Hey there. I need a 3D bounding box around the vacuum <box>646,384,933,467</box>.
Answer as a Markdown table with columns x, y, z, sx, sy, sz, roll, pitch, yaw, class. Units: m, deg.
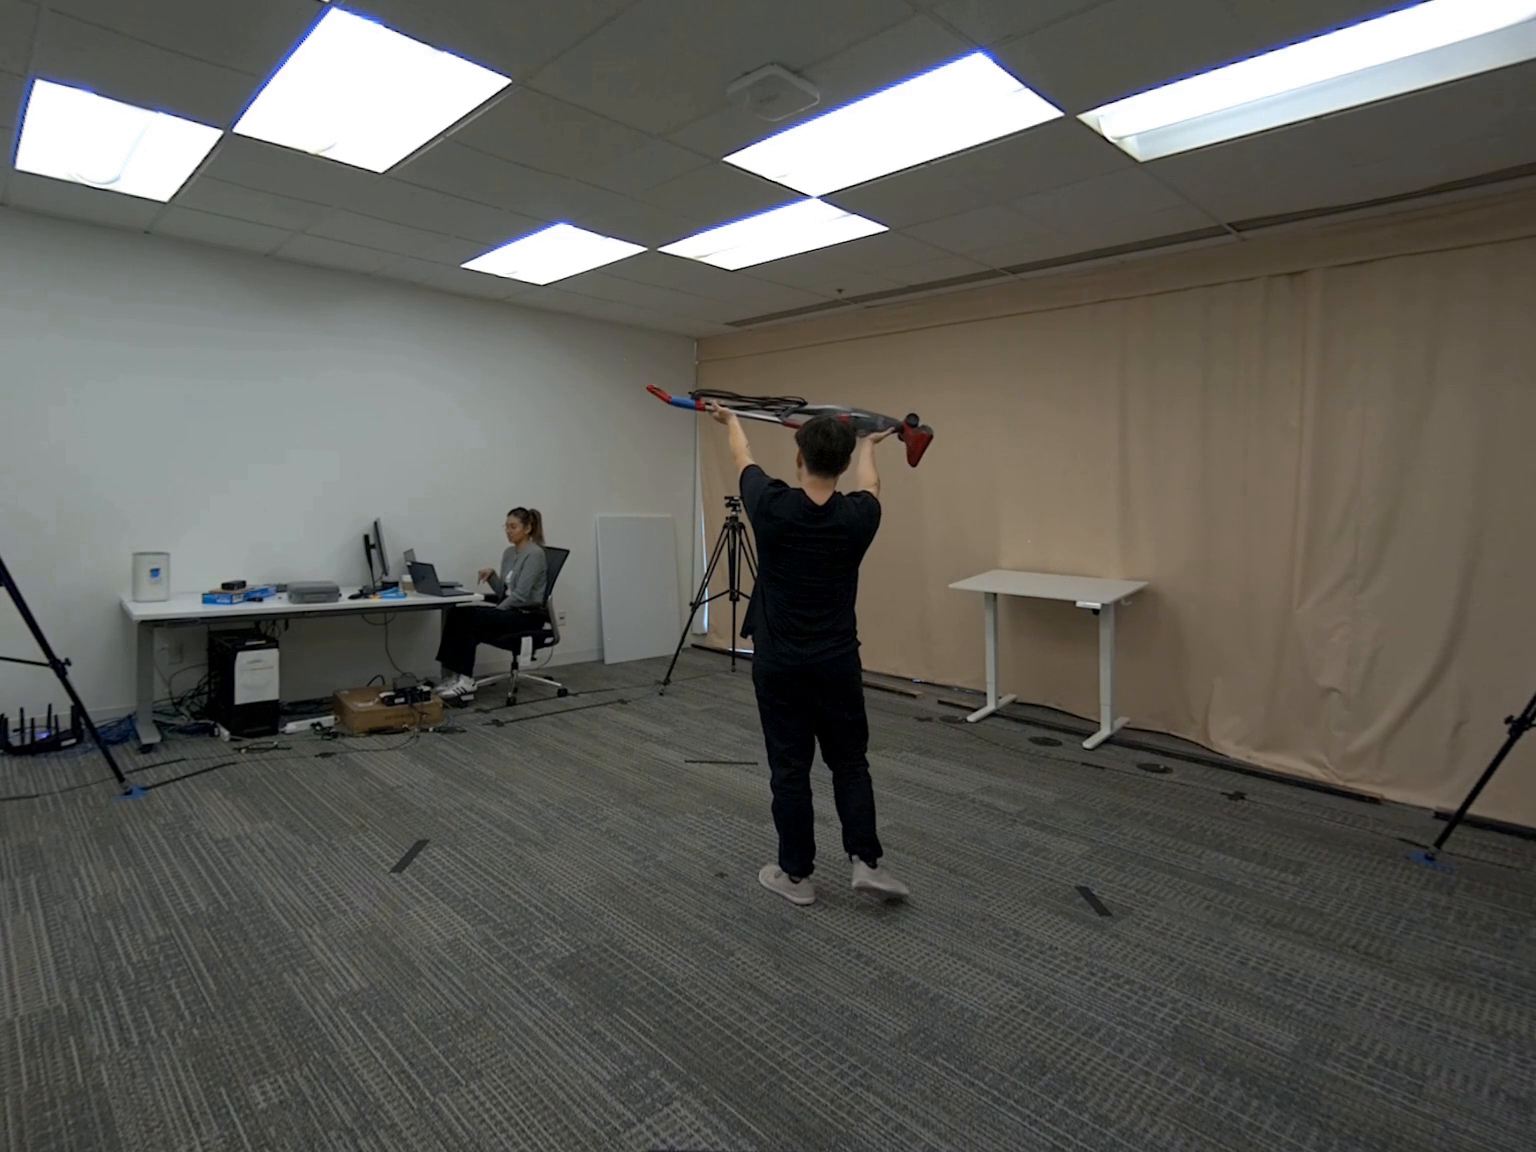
| x | y | z | sx | sy | sz | roll | pitch | yaw | class |
| --- | --- | --- | --- | --- | --- | --- | --- | --- | --- |
| 0.066 | -0.628 | 3.241 | 1.051 | 0.146 | 0.249 | 12 | -22 | 1 | vacuum |
